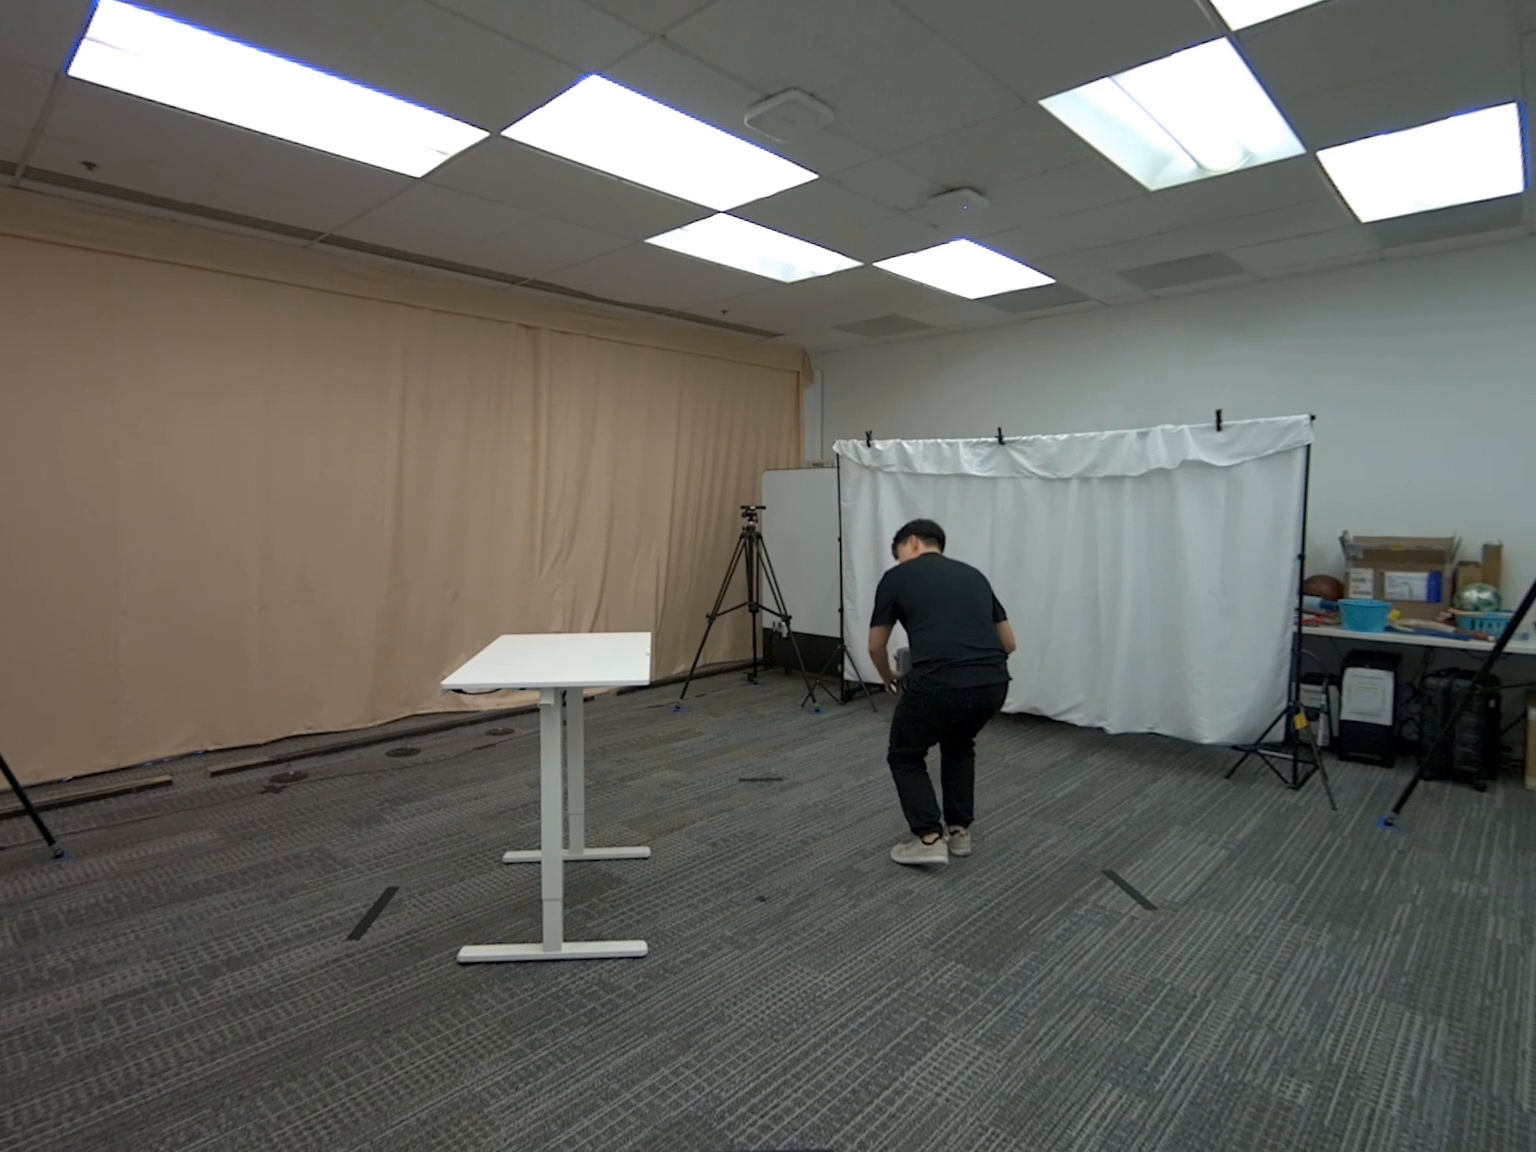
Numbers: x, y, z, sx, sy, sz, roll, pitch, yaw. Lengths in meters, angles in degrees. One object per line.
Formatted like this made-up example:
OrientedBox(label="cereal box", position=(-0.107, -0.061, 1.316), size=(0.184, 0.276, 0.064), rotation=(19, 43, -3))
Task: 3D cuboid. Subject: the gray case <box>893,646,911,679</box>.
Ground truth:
OrientedBox(label="gray case", position=(0.705, 0.441, 3.749), size=(0.256, 0.261, 0.104), rotation=(2, -3, -4))
